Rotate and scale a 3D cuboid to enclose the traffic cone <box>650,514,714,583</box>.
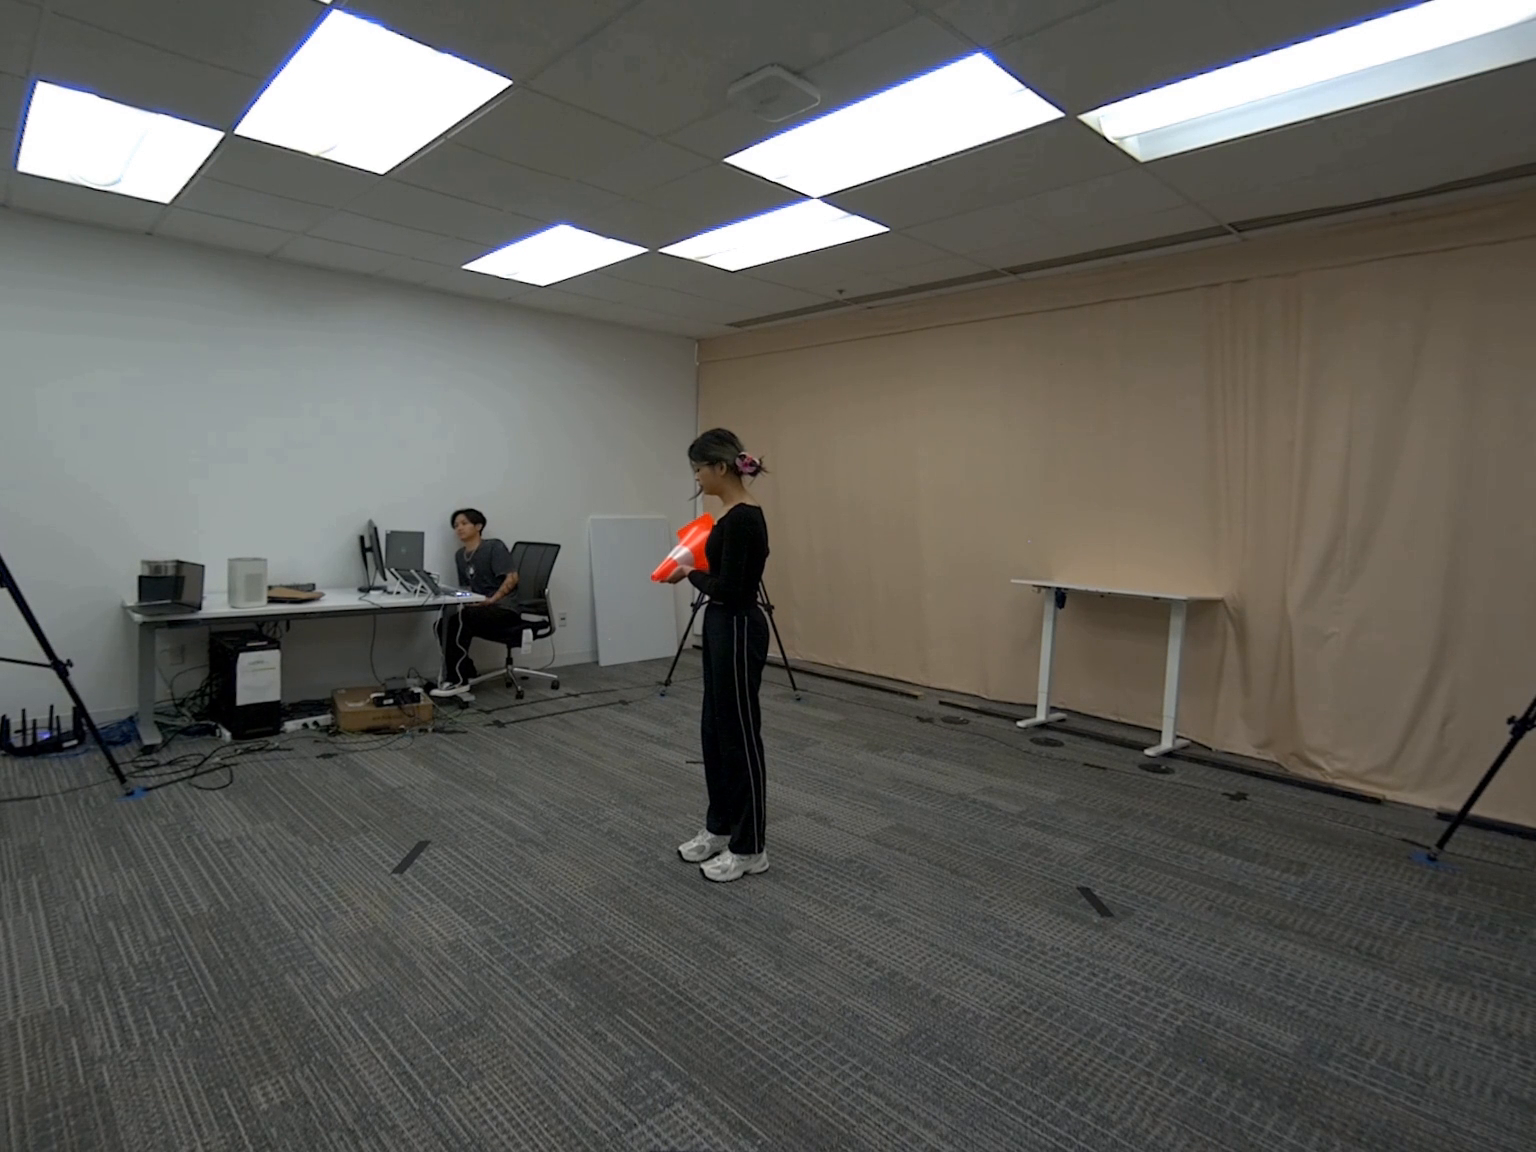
[{"bbox_3d":[-0.340,-0.059,3.255,0.207,0.202,0.382,-29,7,36],"label":"traffic cone"}]
